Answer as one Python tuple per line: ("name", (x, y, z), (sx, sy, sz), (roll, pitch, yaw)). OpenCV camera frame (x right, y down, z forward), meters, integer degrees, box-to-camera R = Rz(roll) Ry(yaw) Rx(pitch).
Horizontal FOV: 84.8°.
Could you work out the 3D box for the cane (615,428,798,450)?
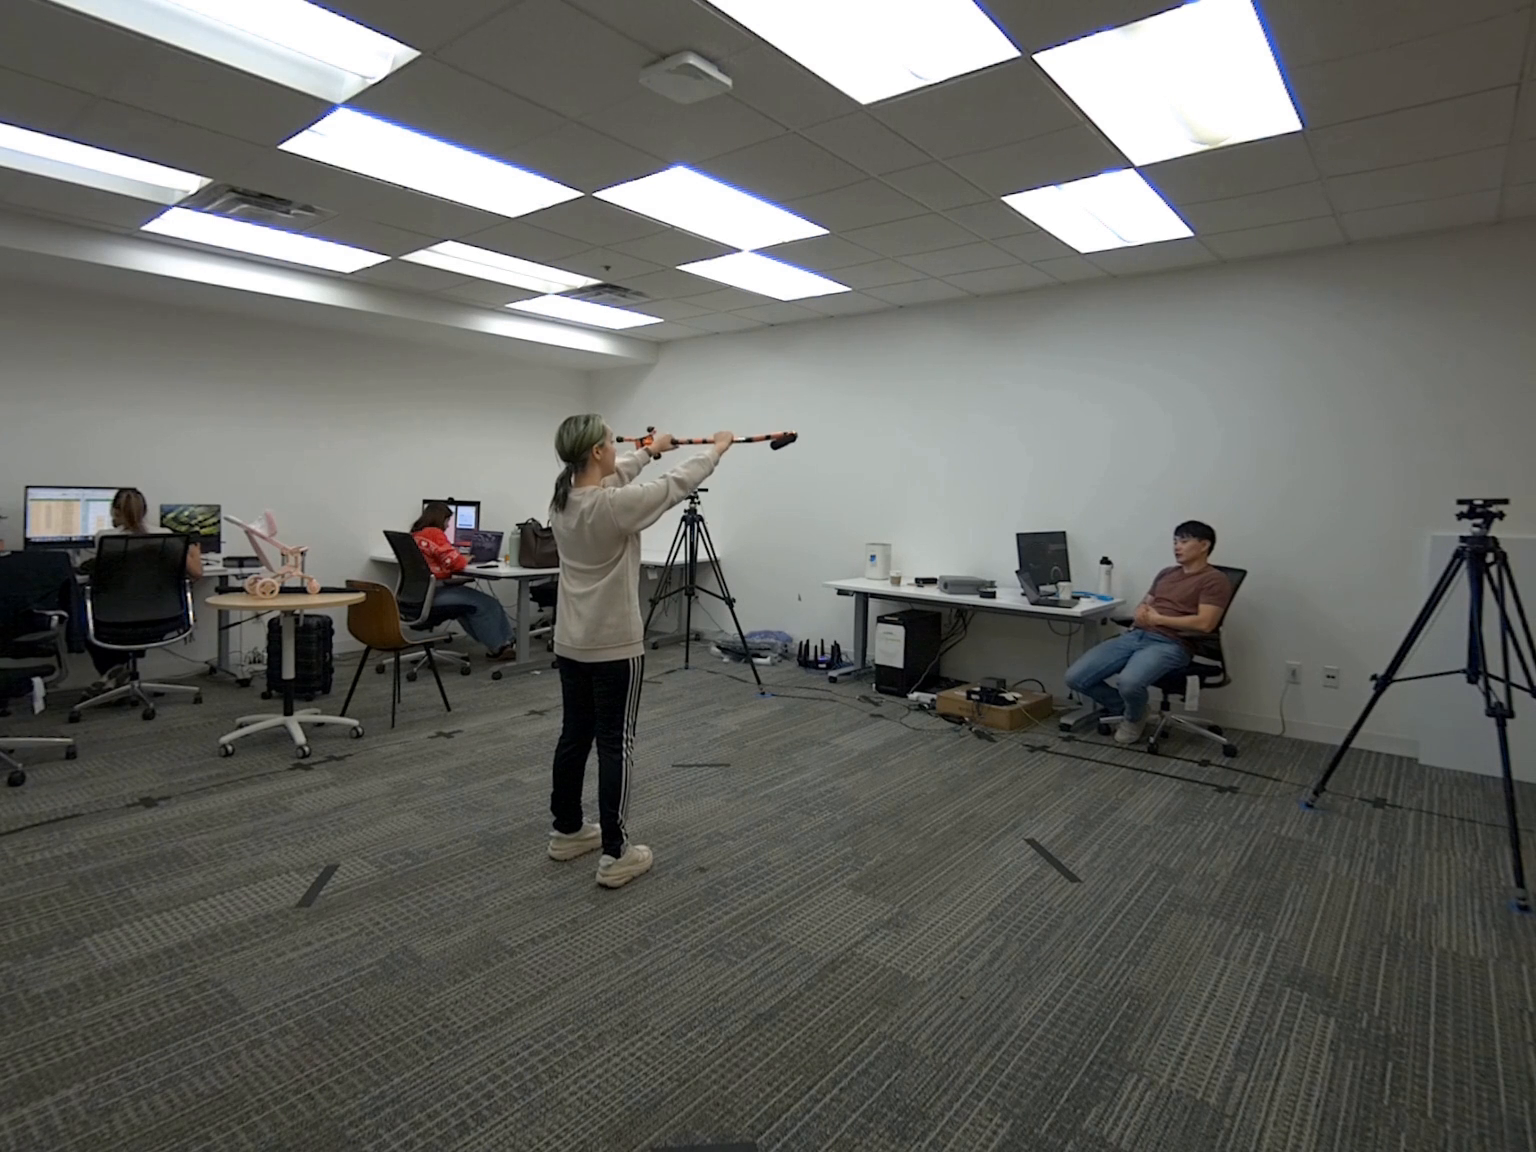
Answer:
("cane", (-0.250, -0.517, 3.365), (0.939, 0.149, 0.203), (7, 25, 45))
